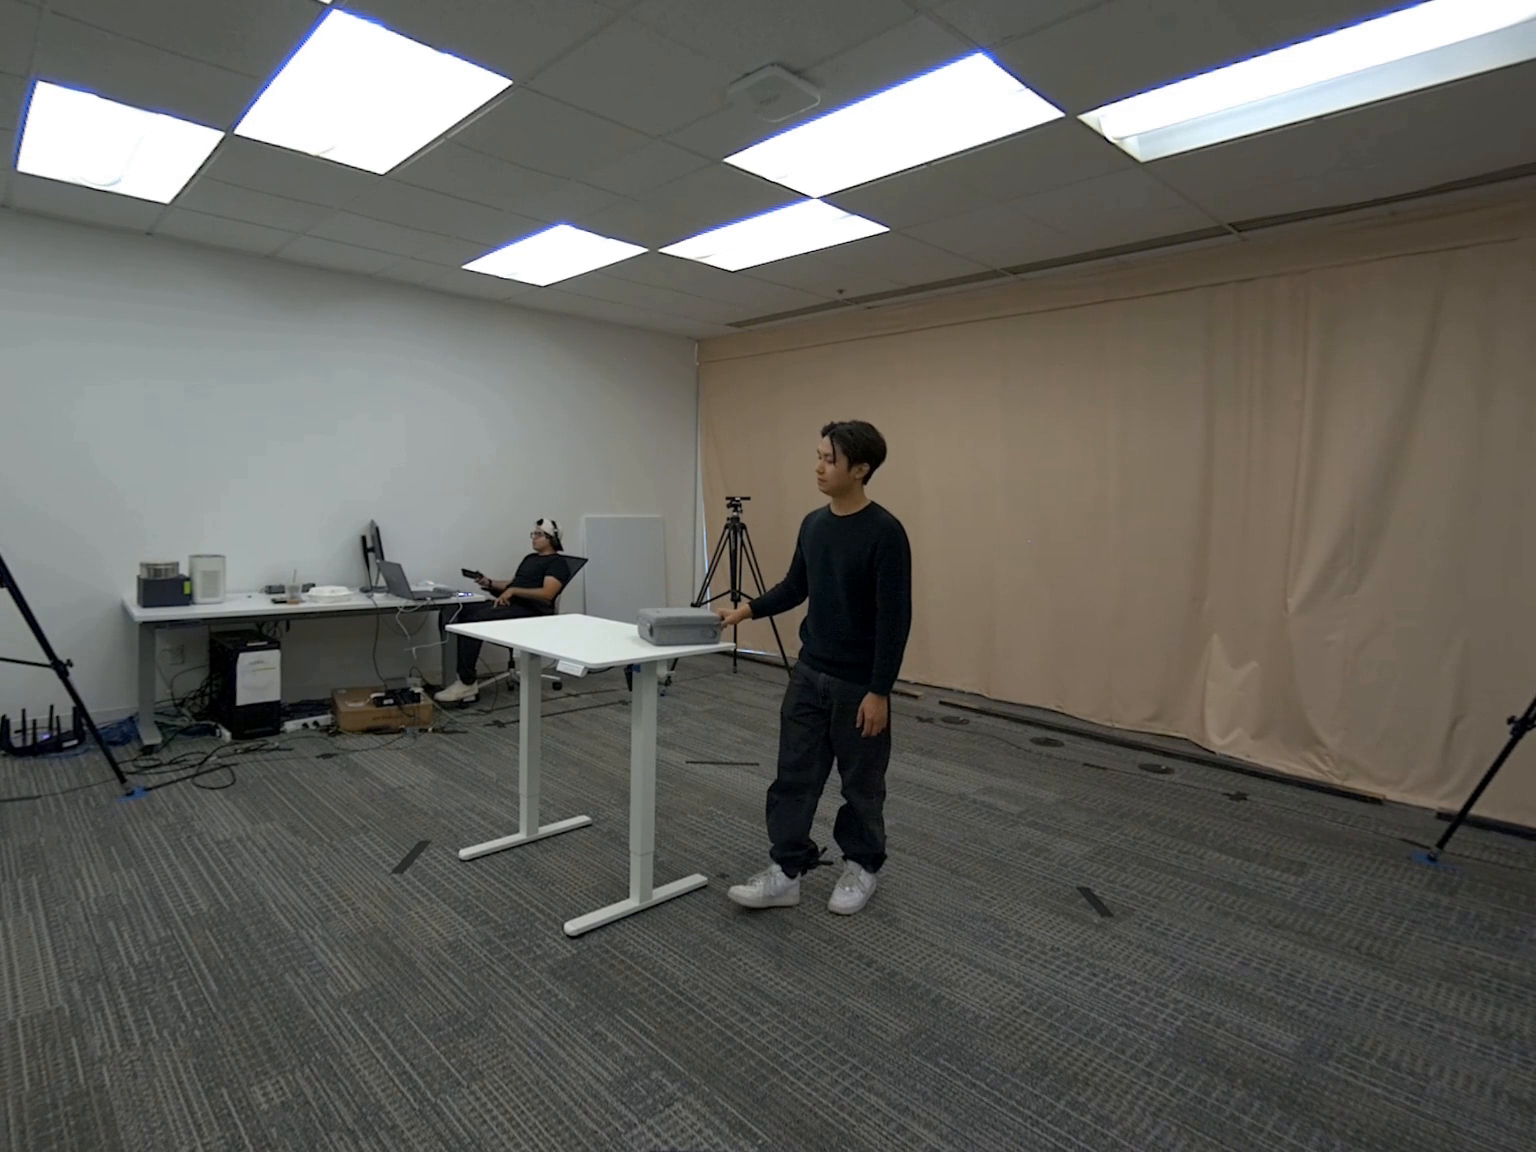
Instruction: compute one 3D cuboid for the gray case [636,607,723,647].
[{"bbox_3d":[-0.327,0.175,2.996,0.257,0.104,0.261,0,3,-20],"label":"gray case"}]
